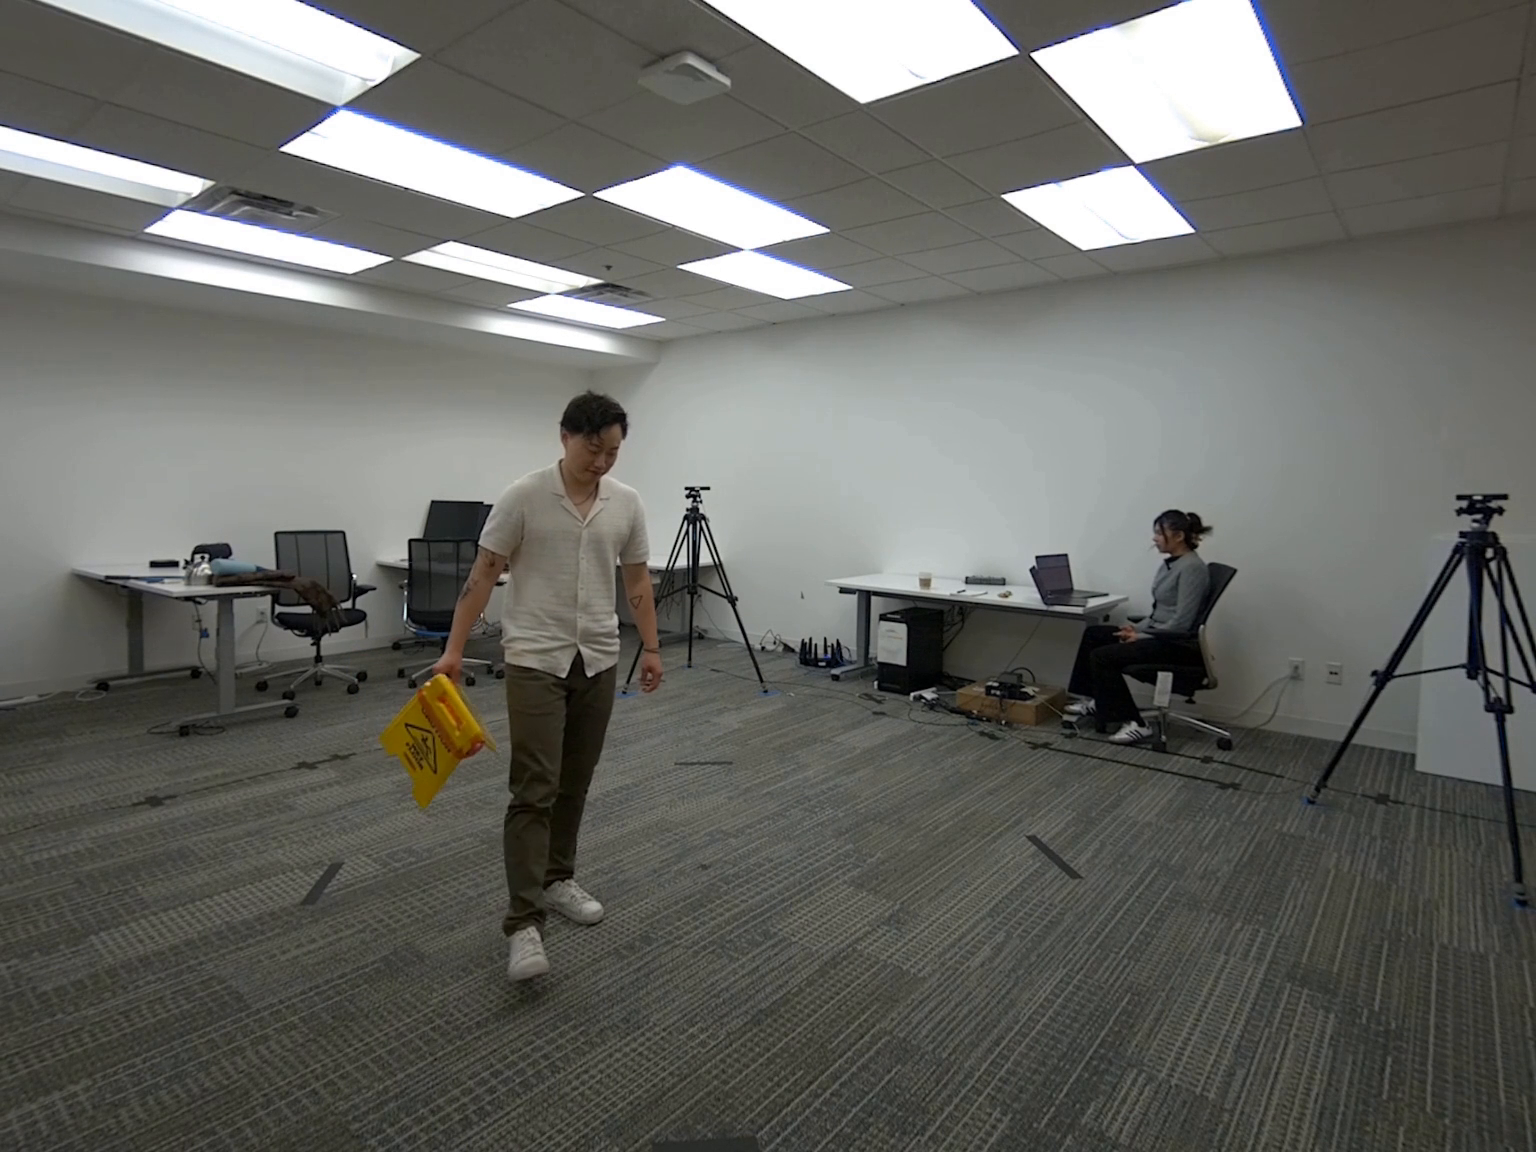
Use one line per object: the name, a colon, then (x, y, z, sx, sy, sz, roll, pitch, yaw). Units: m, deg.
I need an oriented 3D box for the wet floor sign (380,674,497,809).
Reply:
wet floor sign: (-0.969, 0.452, 2.554, 0.287, 0.284, 0.647, -34, -4, -32)
